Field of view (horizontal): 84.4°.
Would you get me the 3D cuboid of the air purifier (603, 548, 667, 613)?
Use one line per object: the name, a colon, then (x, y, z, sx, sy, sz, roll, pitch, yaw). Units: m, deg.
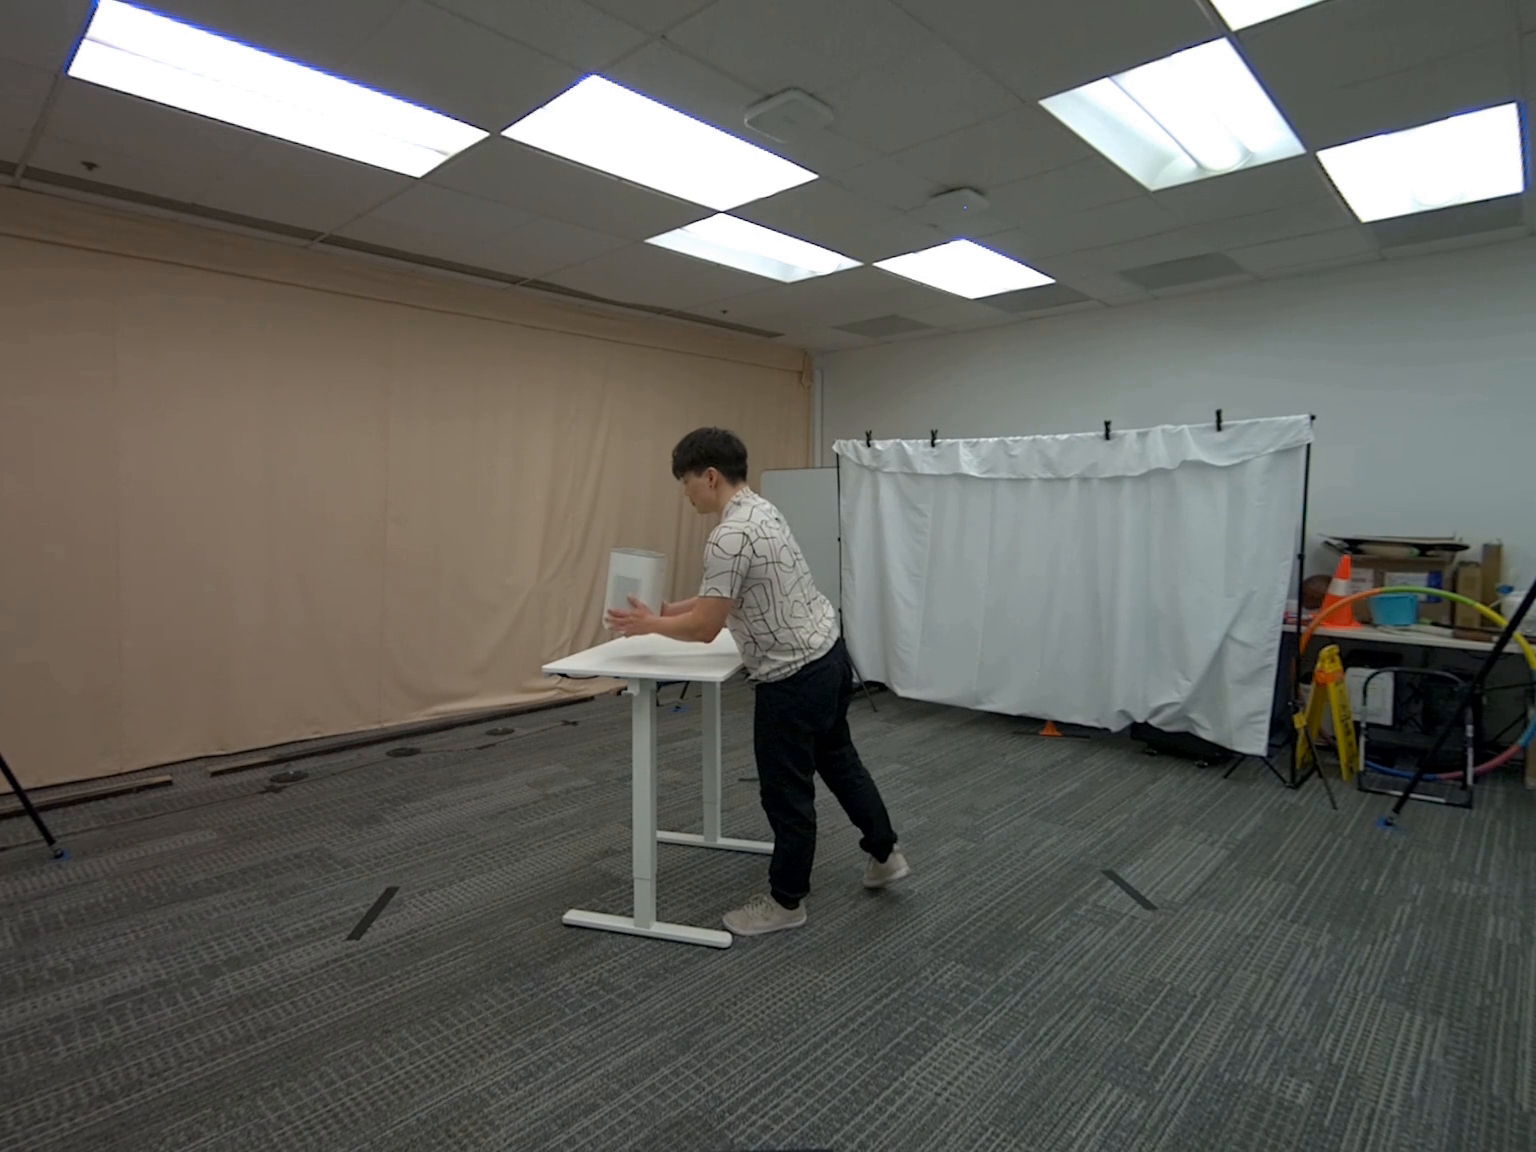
air purifier: (-0.434, 0.055, 2.806, 0.174, 0.265, 0.169, 10, 4, 12)
